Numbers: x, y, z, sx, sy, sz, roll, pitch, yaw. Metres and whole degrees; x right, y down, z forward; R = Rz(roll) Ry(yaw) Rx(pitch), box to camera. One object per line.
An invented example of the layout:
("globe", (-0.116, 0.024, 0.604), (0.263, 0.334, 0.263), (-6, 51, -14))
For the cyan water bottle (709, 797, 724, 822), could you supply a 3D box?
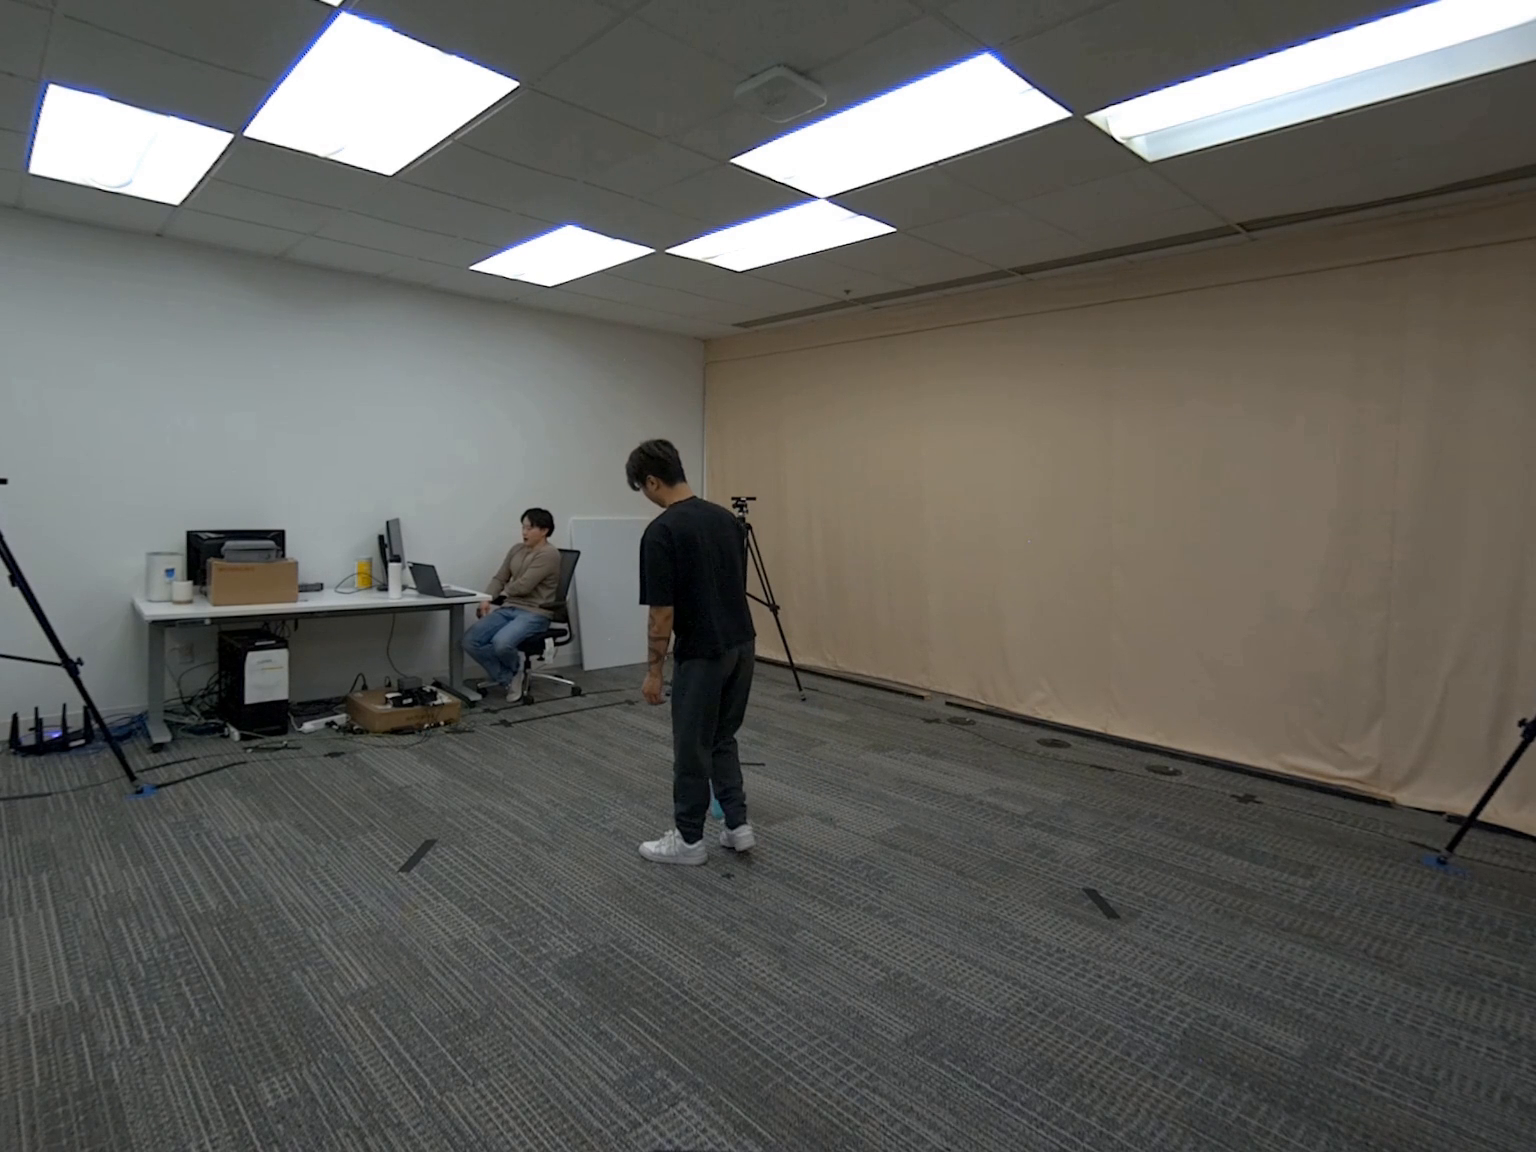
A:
("cyan water bottle", (-0.207, 0.916, 3.708), (0.092, 0.283, 0.092), (3, 3, -2))
